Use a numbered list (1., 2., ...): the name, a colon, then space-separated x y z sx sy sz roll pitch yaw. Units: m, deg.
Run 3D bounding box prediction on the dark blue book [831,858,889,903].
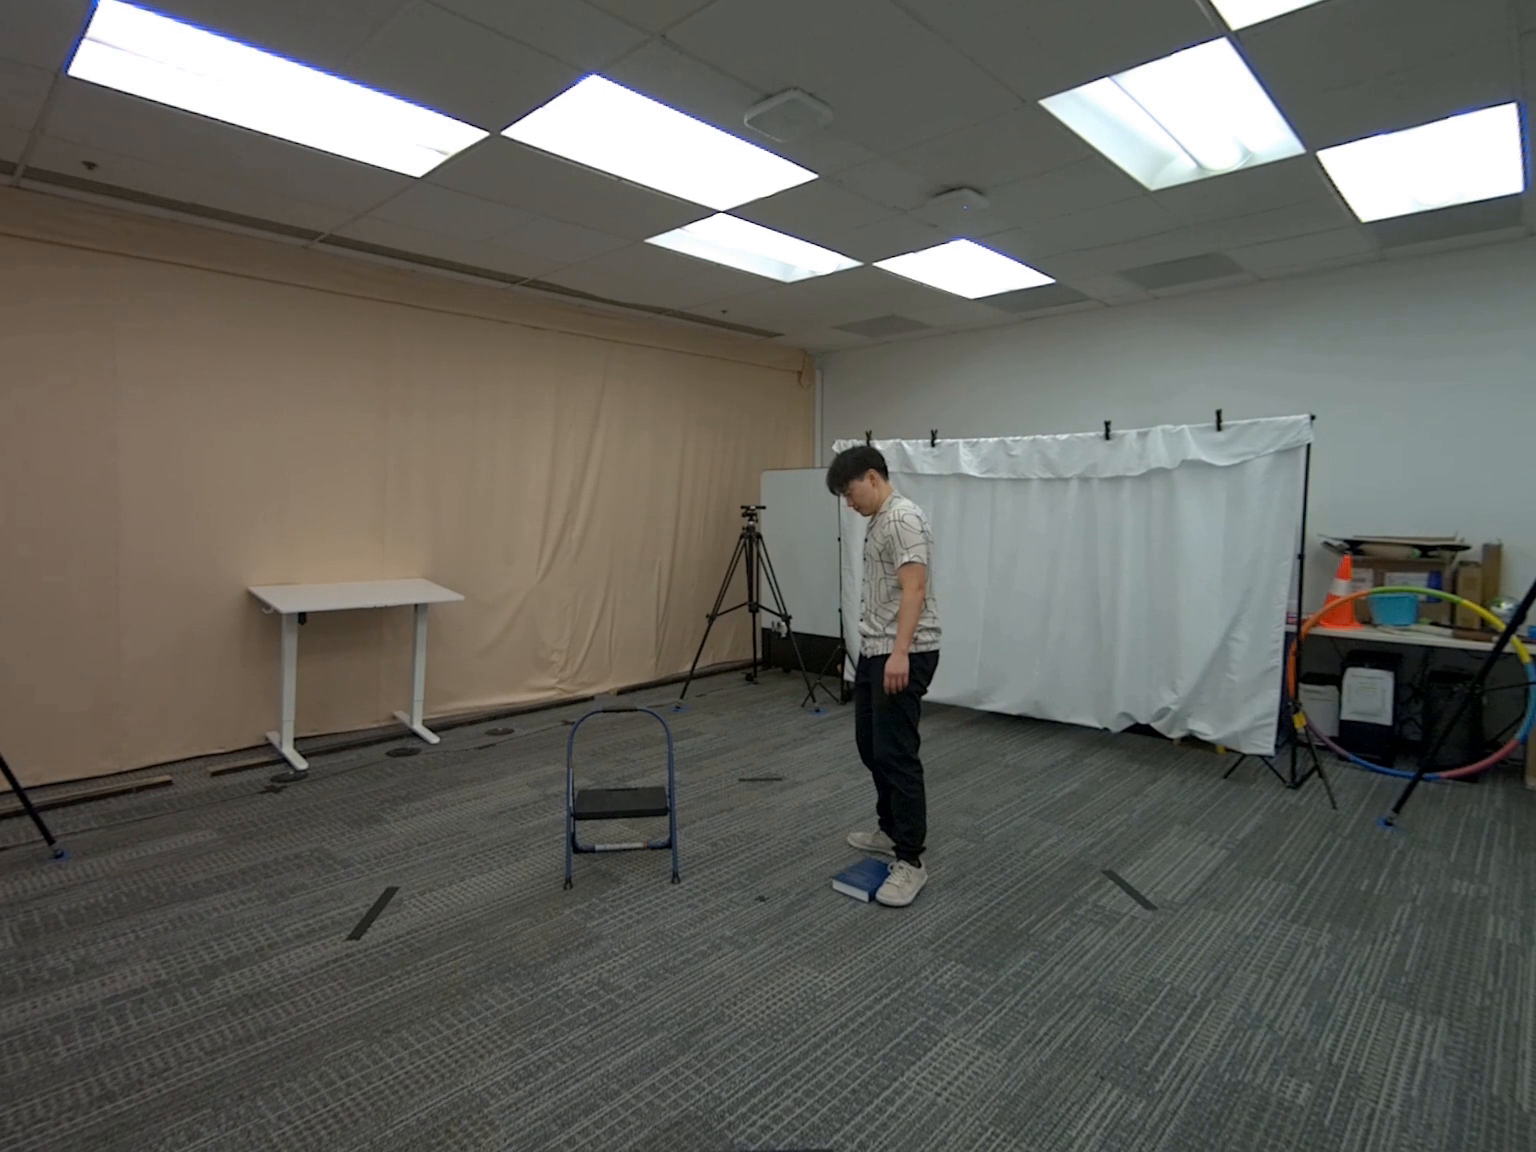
1. dark blue book: 0.371 1.112 3.084 0.169 0.045 0.238 3 6 42
